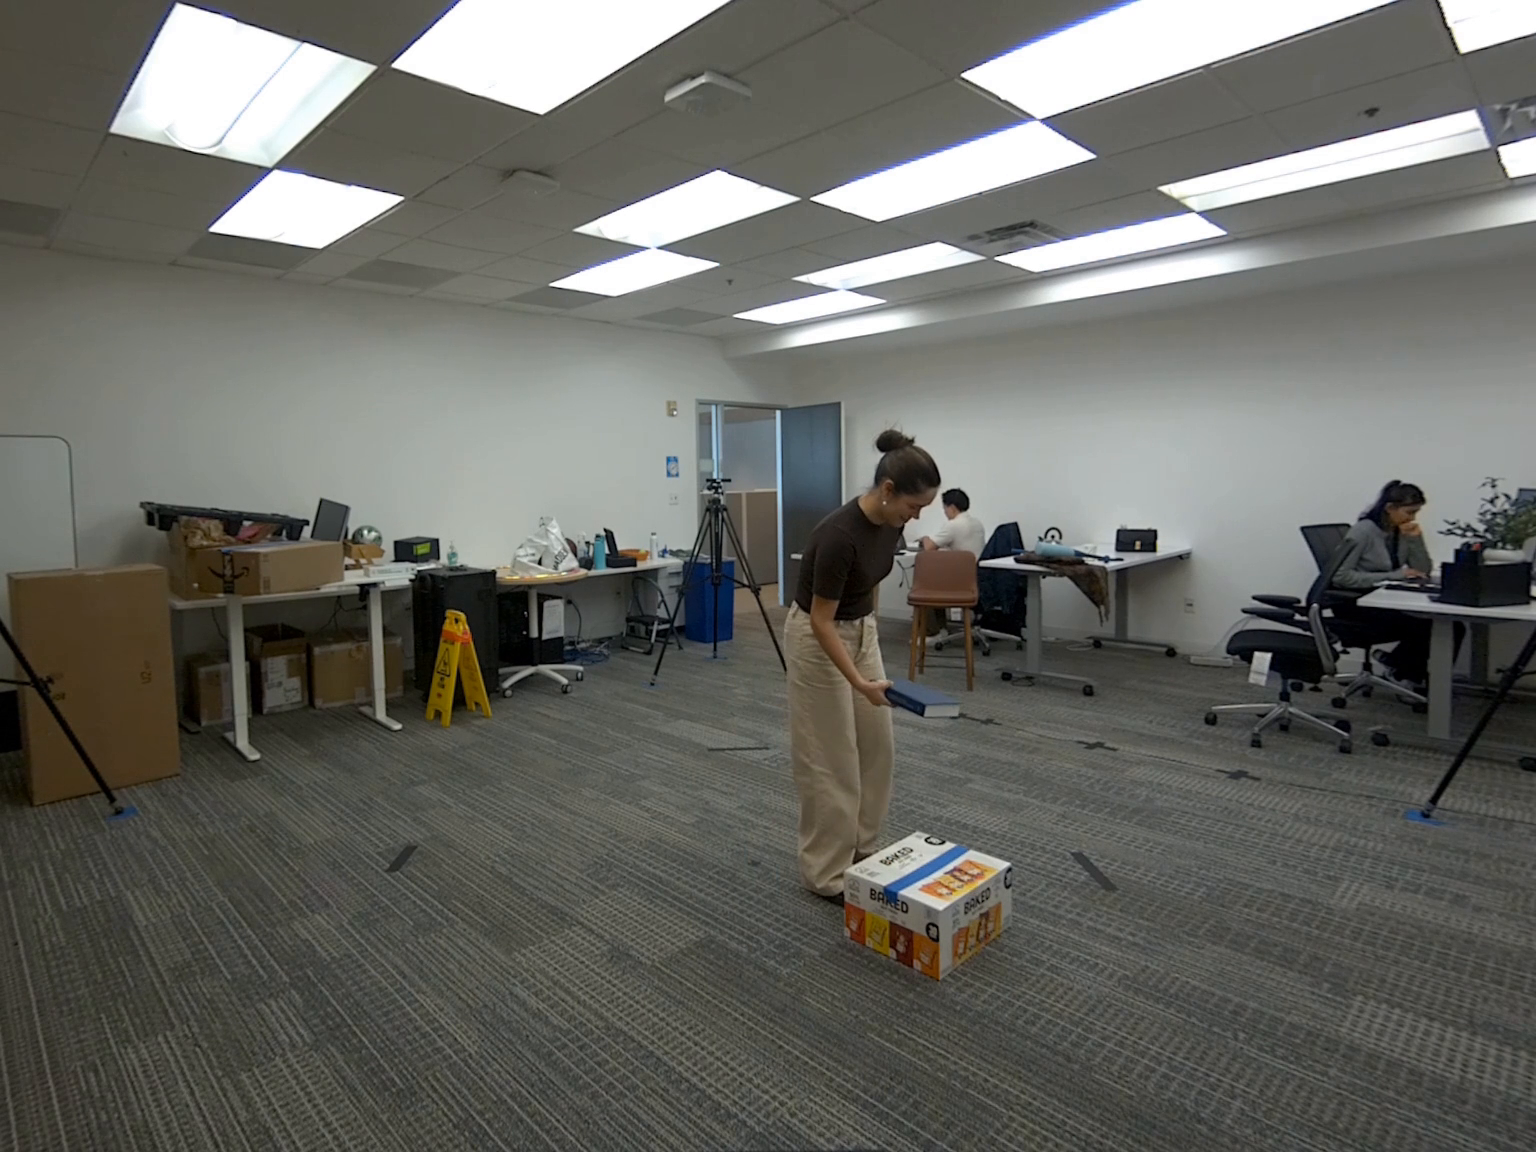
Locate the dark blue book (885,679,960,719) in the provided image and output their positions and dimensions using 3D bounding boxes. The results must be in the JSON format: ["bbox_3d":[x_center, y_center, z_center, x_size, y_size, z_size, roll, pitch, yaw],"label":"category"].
[{"bbox_3d":[0.453,0.373,2.639,0.158,0.045,0.253,5,7,-36],"label":"dark blue book"}]
